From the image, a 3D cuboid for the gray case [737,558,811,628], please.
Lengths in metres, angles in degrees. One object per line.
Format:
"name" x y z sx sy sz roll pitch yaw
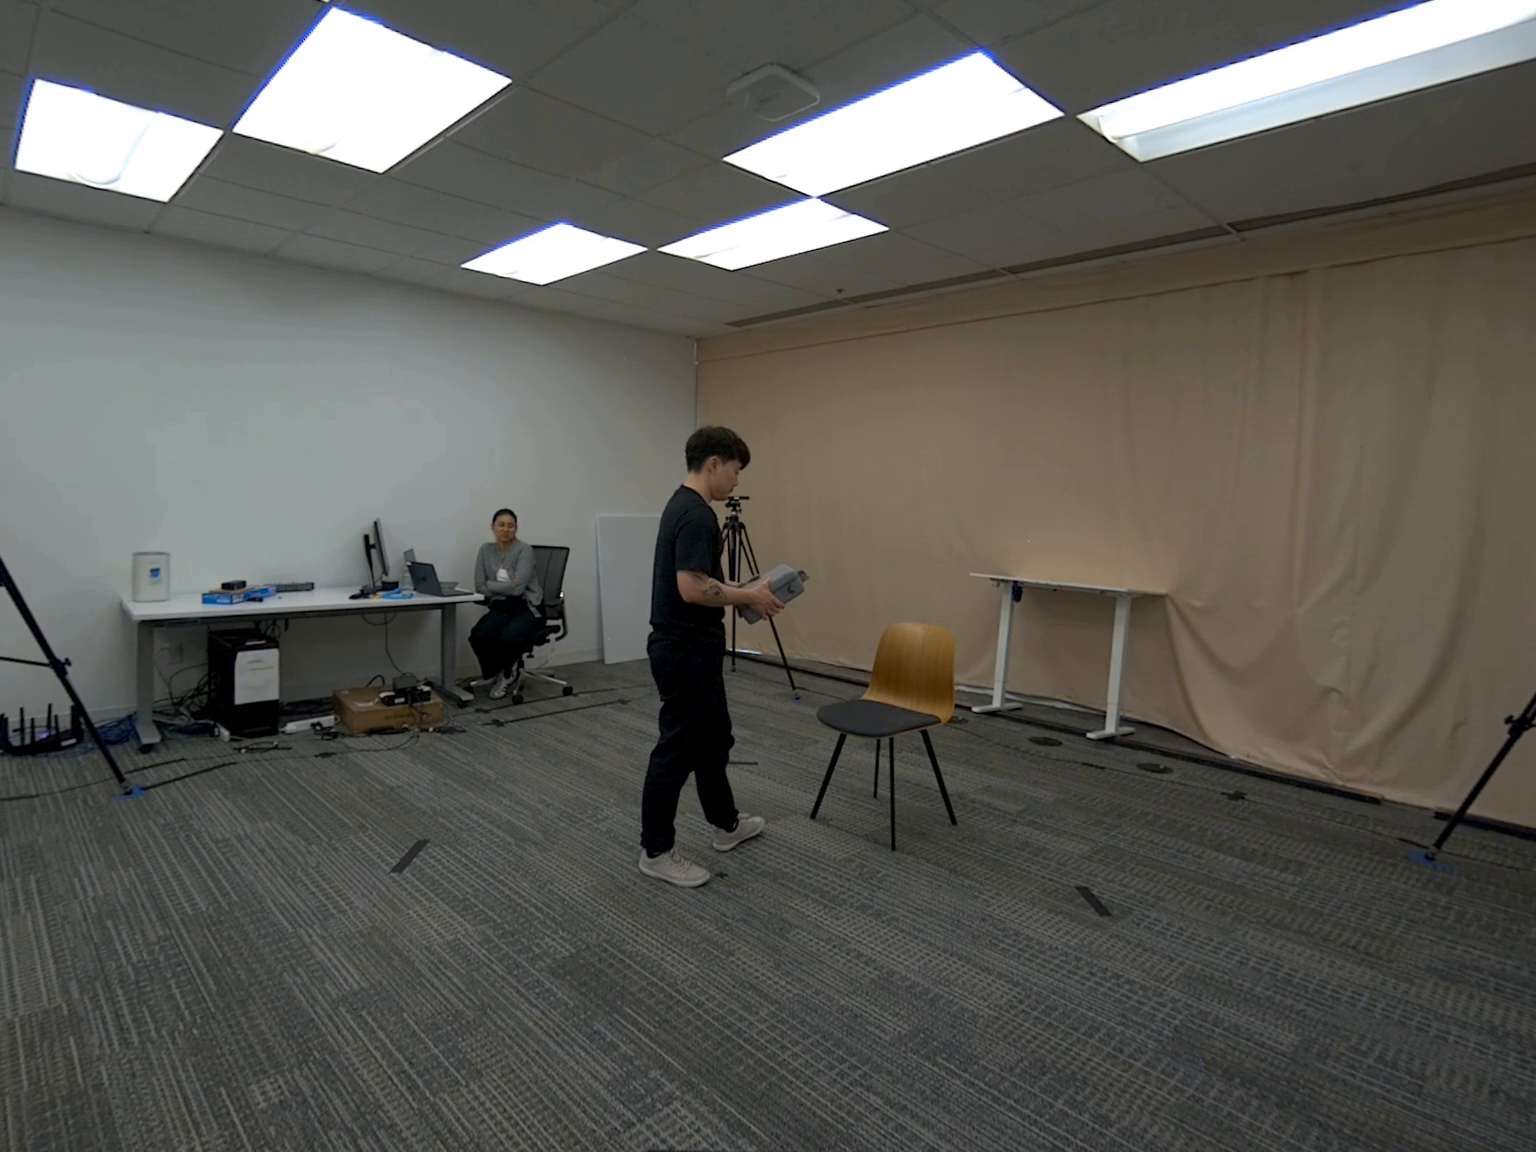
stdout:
"gray case" 0.002 0.057 3.157 0.260 0.104 0.258 -32 7 -1
